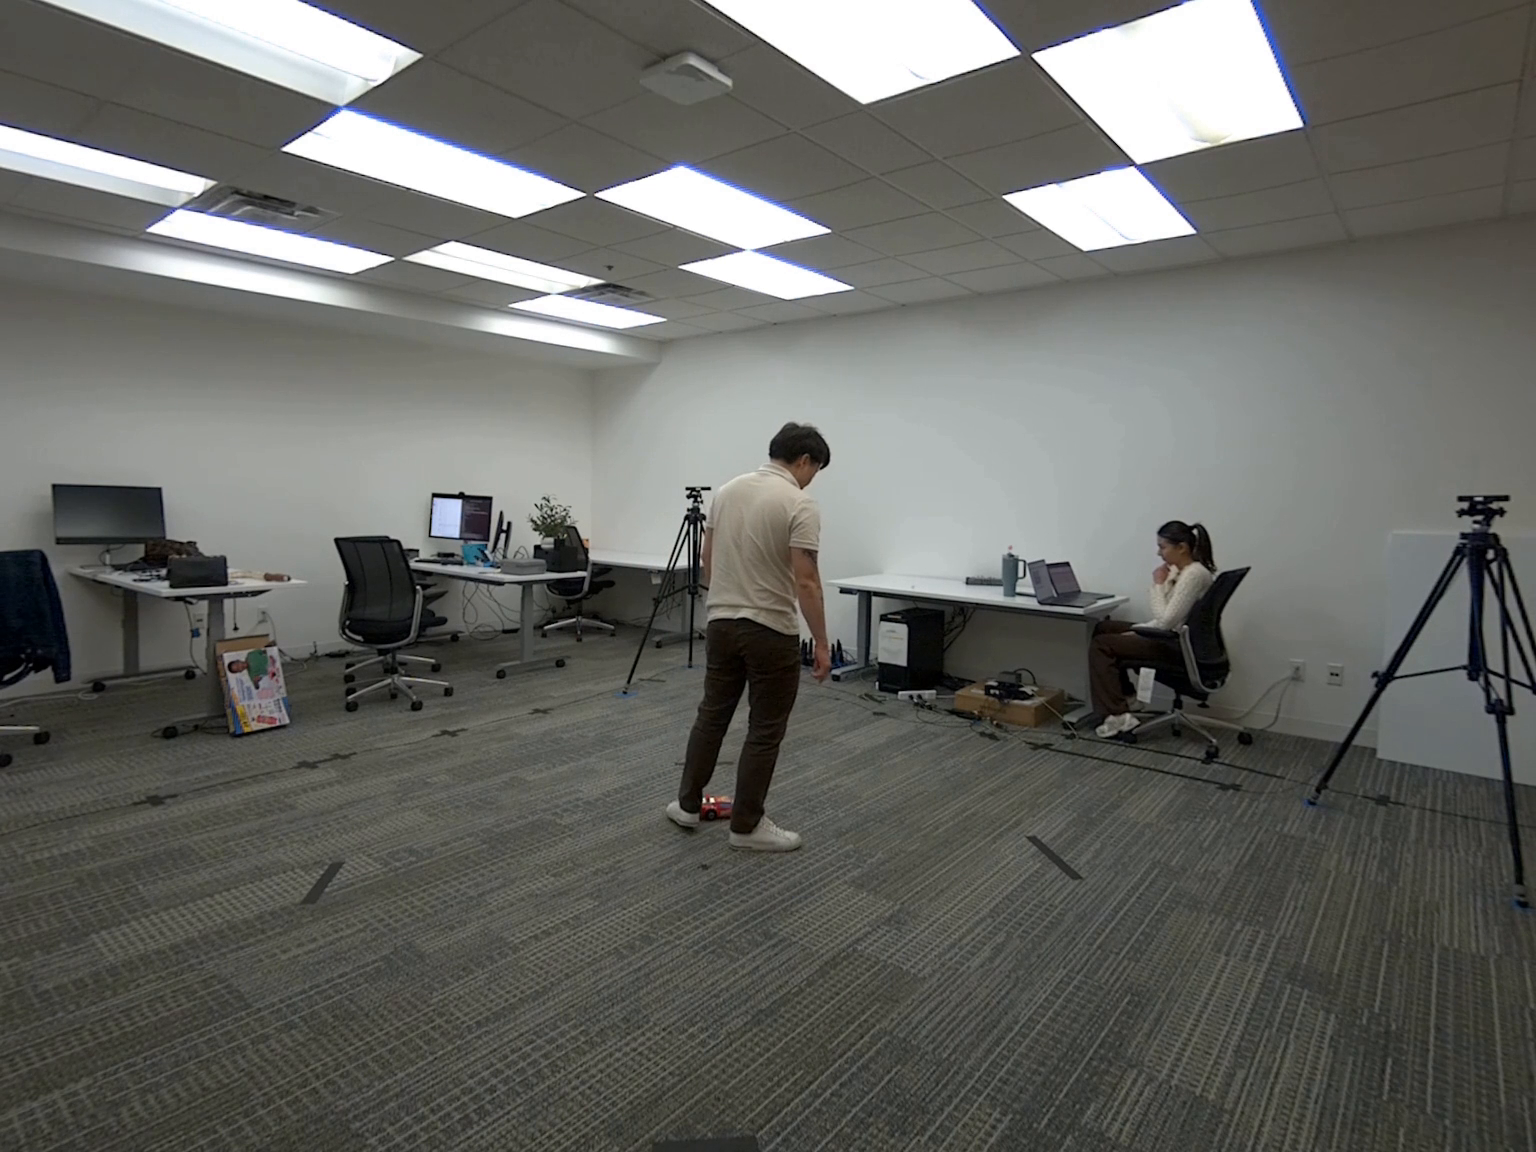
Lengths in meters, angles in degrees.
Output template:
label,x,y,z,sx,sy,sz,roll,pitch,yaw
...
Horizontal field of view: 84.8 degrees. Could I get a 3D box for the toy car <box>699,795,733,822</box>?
label,x,y,z,sx,sy,sz,roll,pitch,yaw
toy car,-0.201,0.985,3.622,0.253,0.083,0.131,10,3,-6
